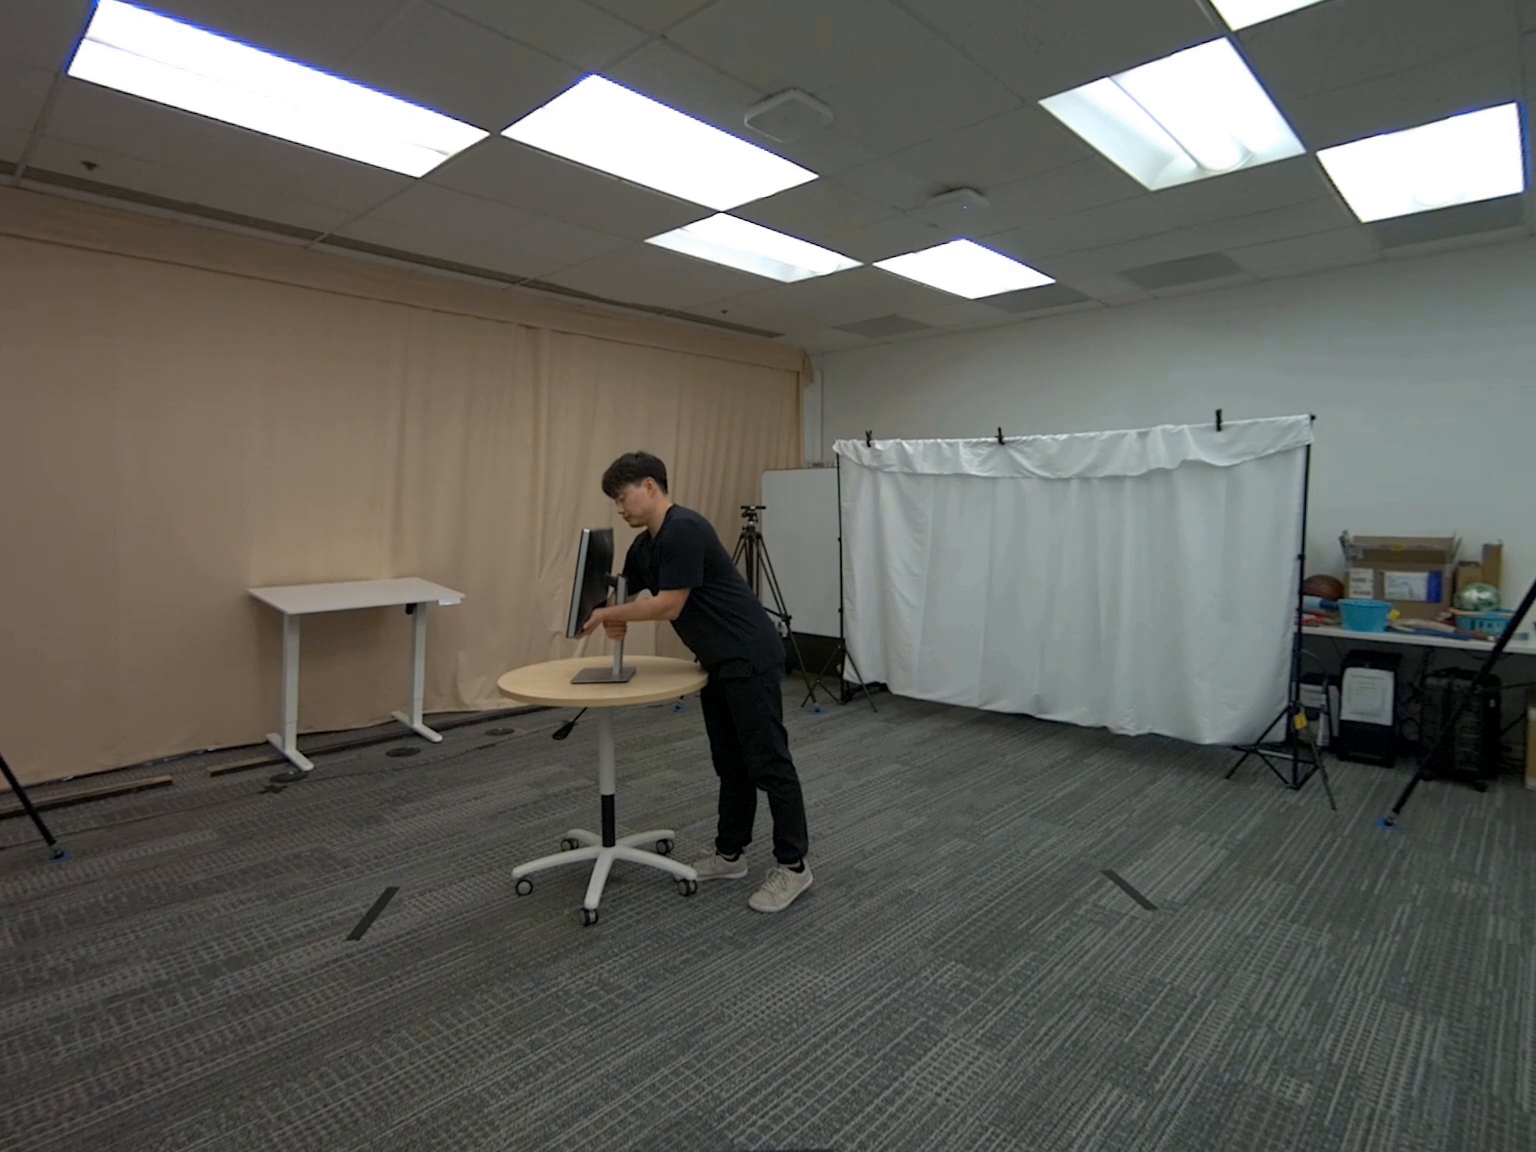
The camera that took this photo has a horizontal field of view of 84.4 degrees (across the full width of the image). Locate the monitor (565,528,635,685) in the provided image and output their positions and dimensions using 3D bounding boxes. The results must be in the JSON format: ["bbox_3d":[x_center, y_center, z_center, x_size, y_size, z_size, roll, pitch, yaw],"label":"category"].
[{"bbox_3d":[-0.590,0.105,3.043,0.187,0.522,0.541,-2,3,-3],"label":"monitor"}]
